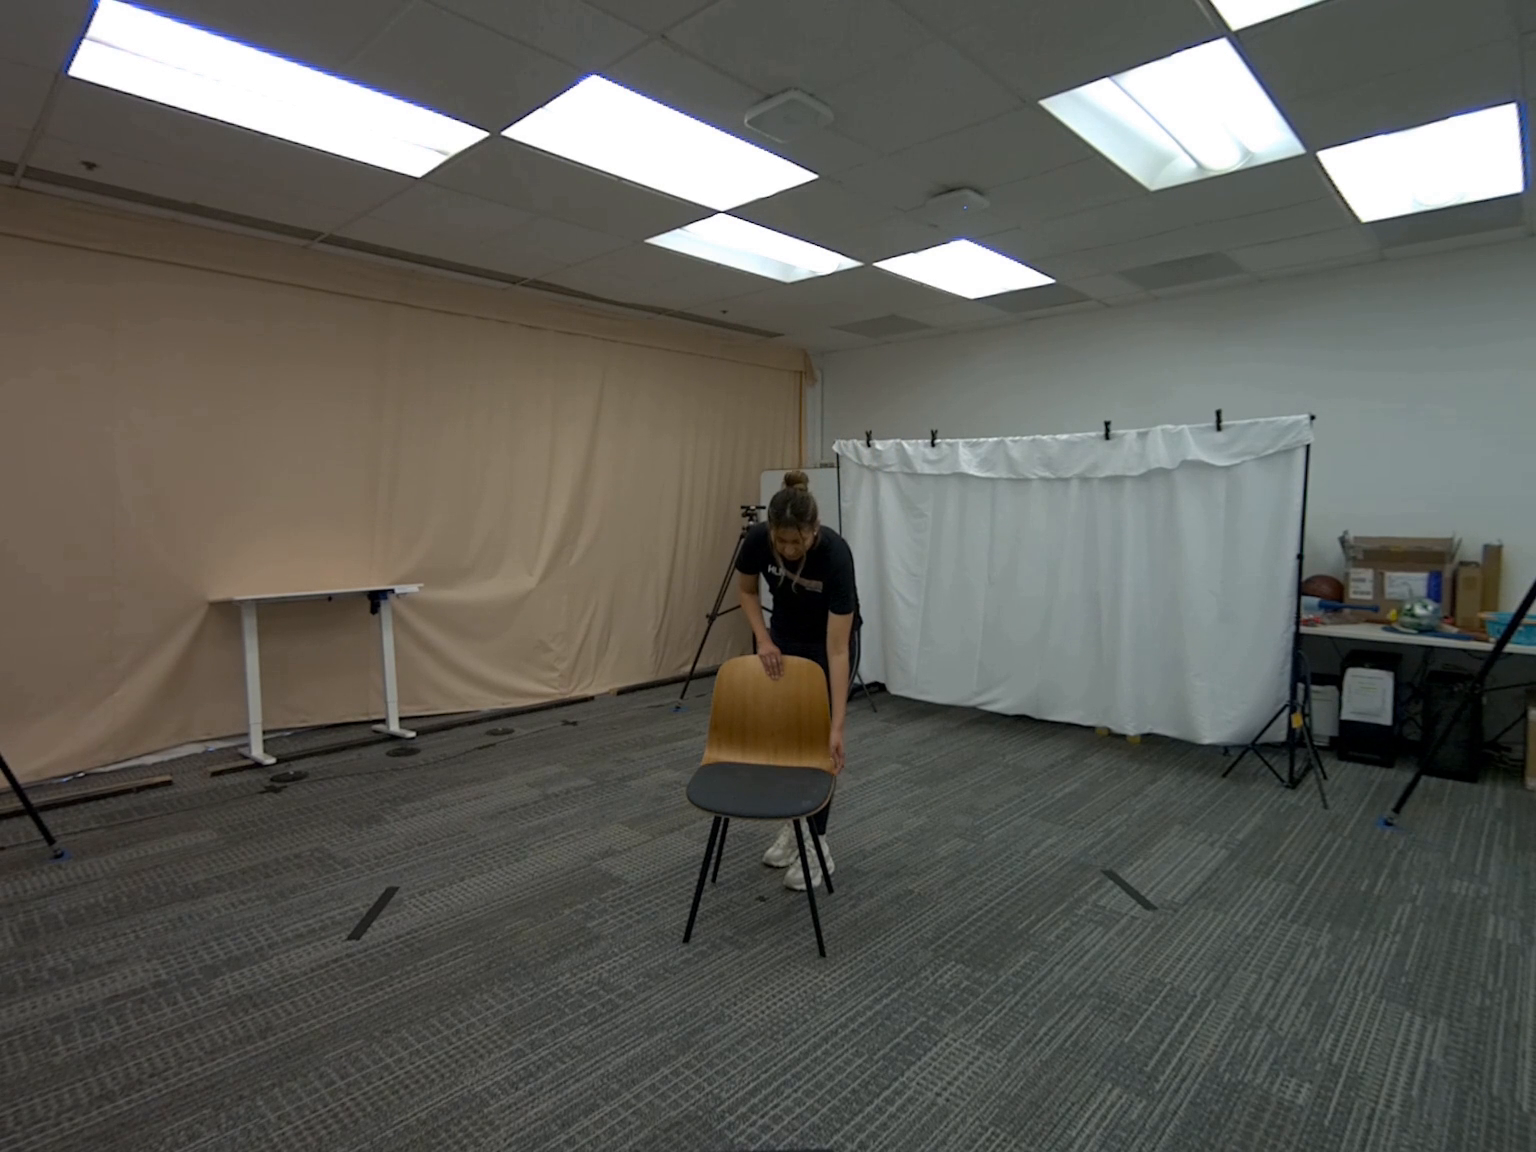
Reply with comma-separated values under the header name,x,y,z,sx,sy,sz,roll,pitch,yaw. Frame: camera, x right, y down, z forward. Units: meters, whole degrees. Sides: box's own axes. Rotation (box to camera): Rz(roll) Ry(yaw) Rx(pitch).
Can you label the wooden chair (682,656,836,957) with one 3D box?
name,x,y,z,sx,sy,sz,roll,pitch,yaw
wooden chair,-0.009,0.729,2.816,0.484,0.877,0.517,1,0,10
